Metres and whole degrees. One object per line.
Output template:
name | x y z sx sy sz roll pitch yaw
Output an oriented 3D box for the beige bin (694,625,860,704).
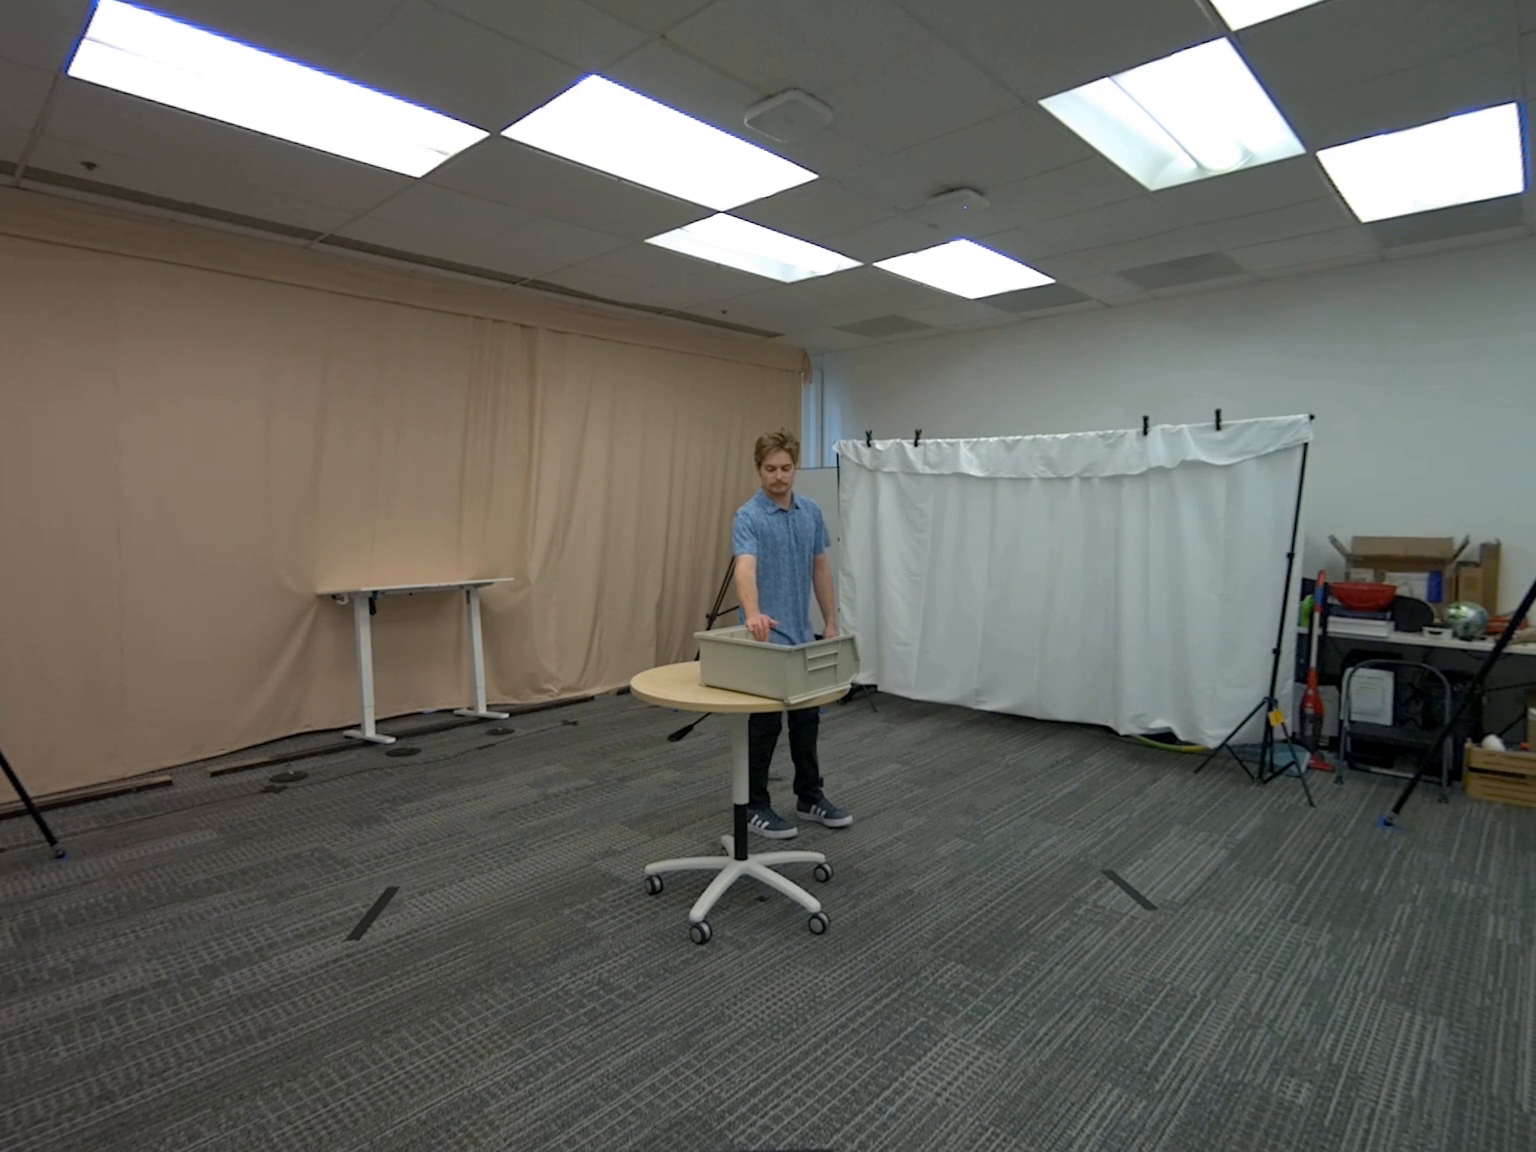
beige bin | 0.031 0.283 2.836 0.436 0.188 0.366 5 8 42
